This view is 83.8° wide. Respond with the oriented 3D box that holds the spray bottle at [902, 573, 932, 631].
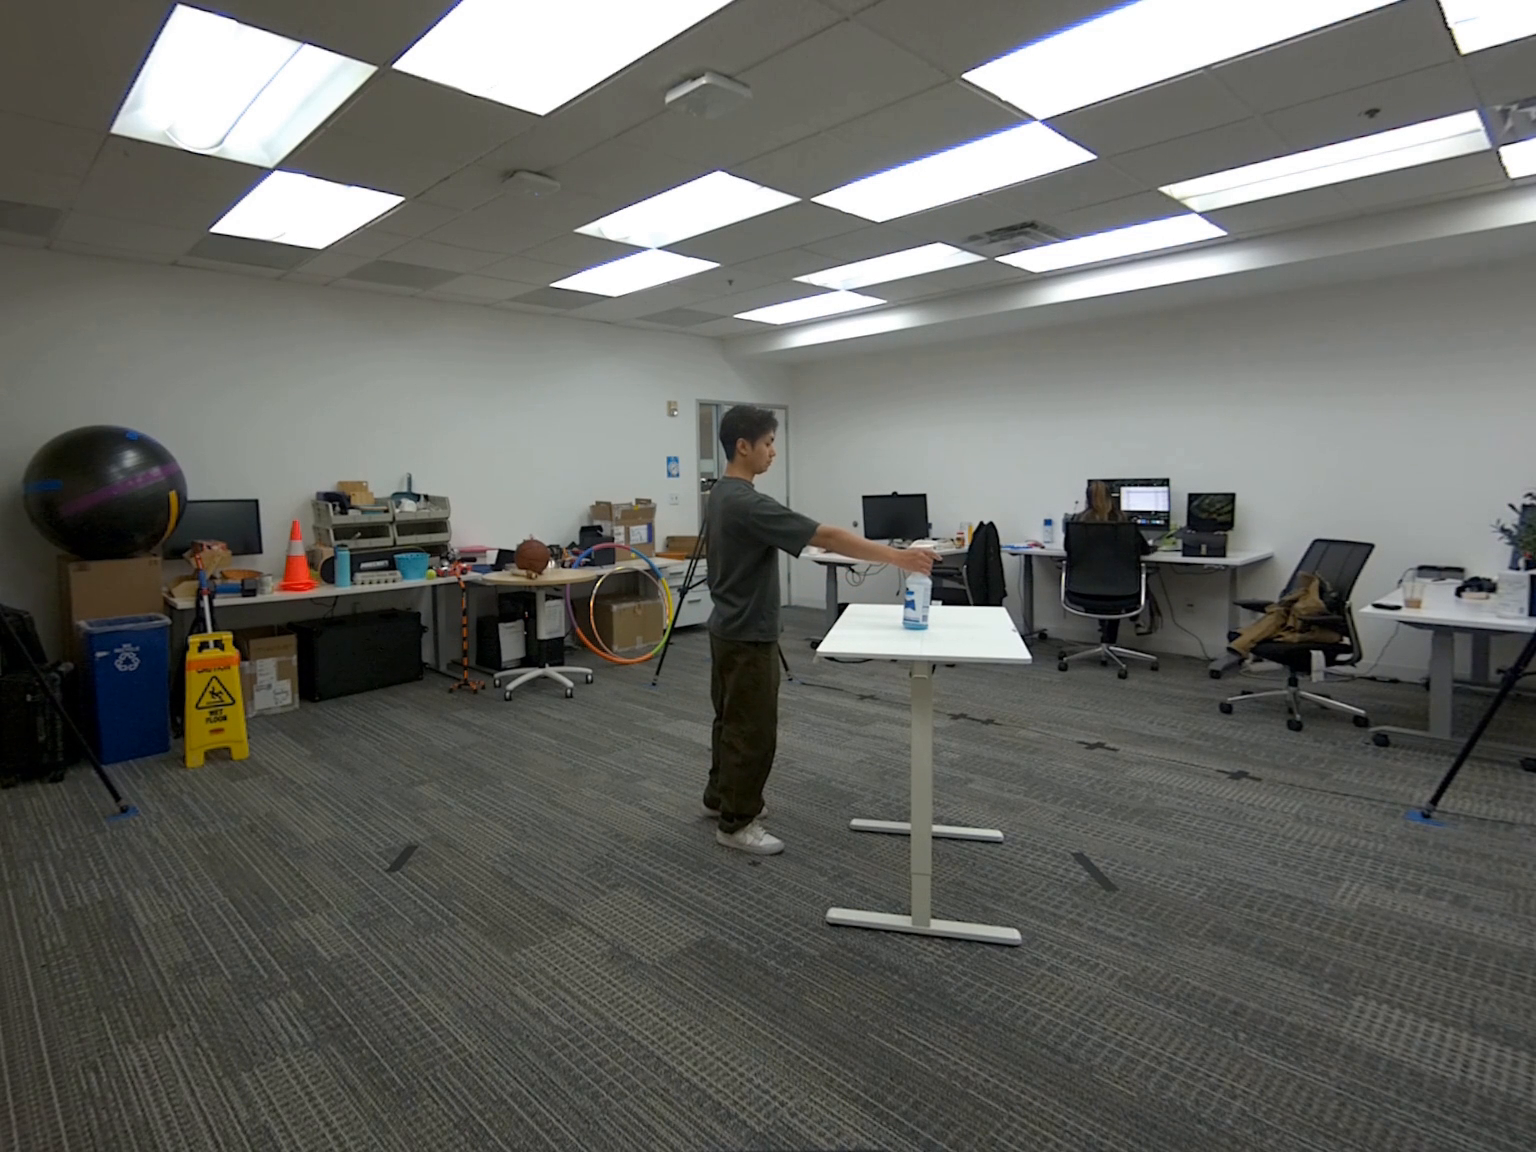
[{"bbox_3d":[0.516,0.028,2.891,0.092,0.298,0.085,4,-2,28],"label":"spray bottle"}]
